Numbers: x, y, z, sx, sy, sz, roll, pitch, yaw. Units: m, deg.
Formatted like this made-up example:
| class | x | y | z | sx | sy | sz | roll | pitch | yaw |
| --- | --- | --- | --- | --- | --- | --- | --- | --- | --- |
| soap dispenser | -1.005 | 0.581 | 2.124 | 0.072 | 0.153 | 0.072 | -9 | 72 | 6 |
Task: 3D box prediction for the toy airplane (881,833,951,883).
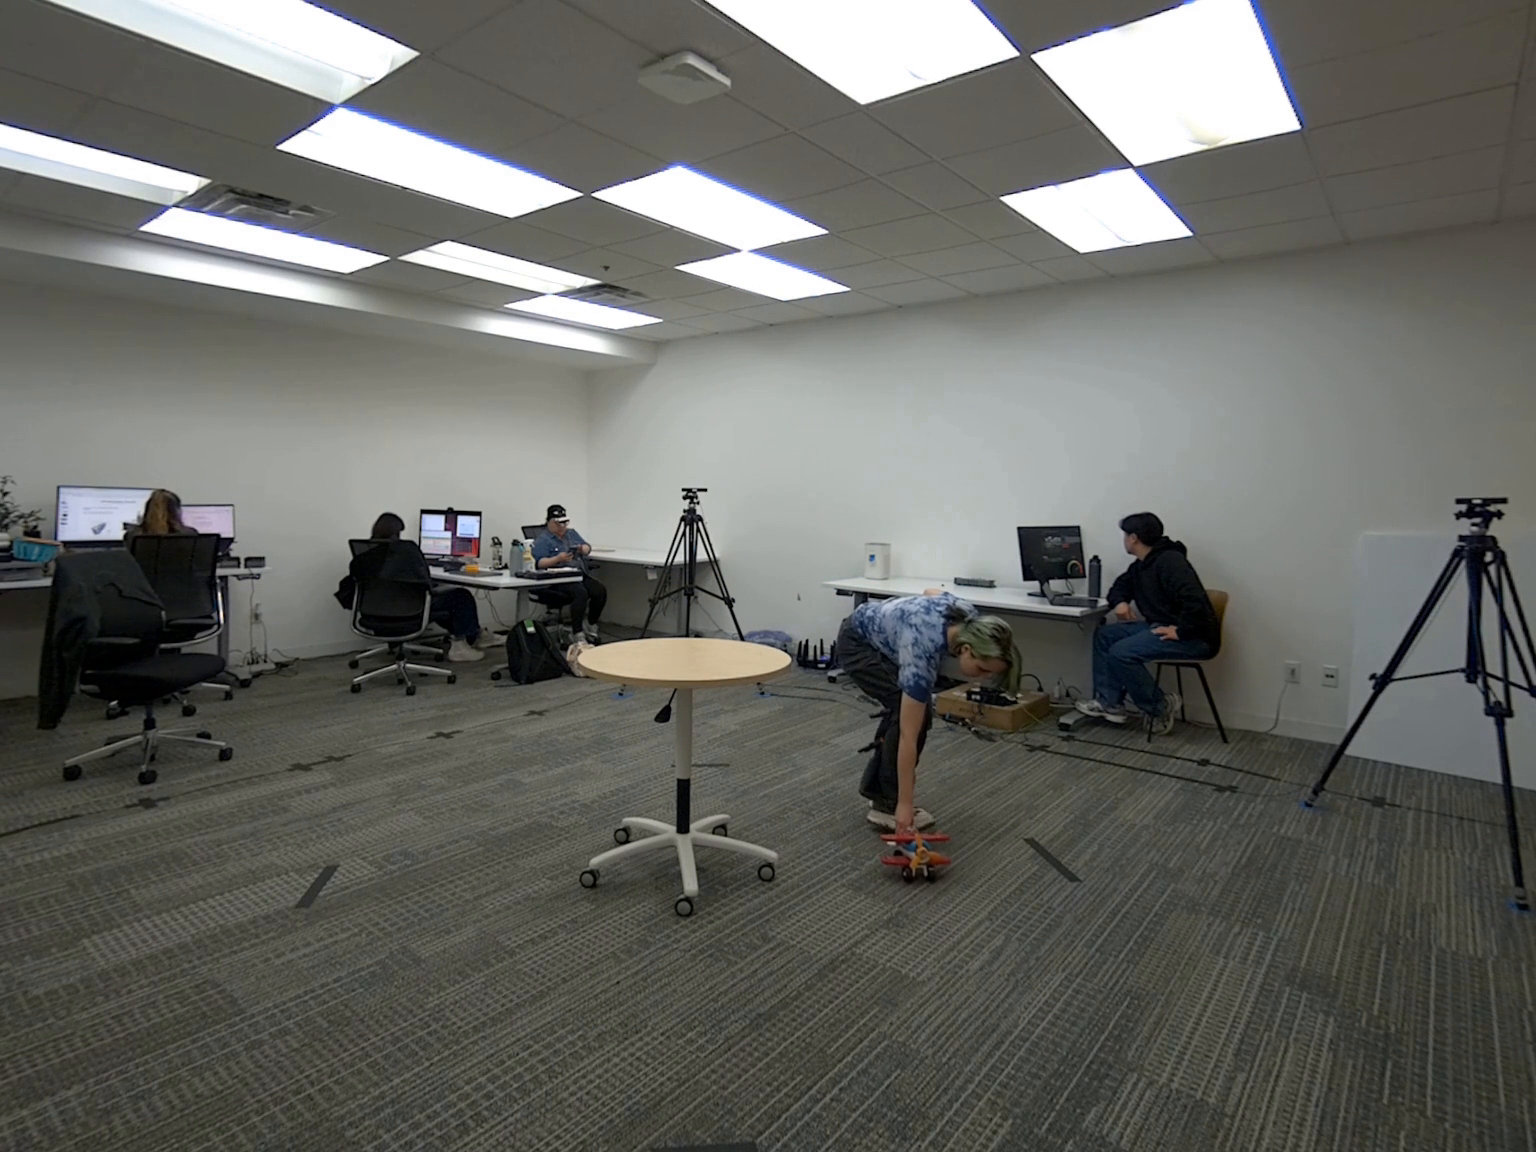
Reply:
| class | x | y | z | sx | sy | sz | roll | pitch | yaw |
| --- | --- | --- | --- | --- | --- | --- | --- | --- | --- |
| toy airplane | 0.508 | 1.008 | 3.134 | 0.244 | 0.156 | 0.267 | -2 | 6 | -32 |
